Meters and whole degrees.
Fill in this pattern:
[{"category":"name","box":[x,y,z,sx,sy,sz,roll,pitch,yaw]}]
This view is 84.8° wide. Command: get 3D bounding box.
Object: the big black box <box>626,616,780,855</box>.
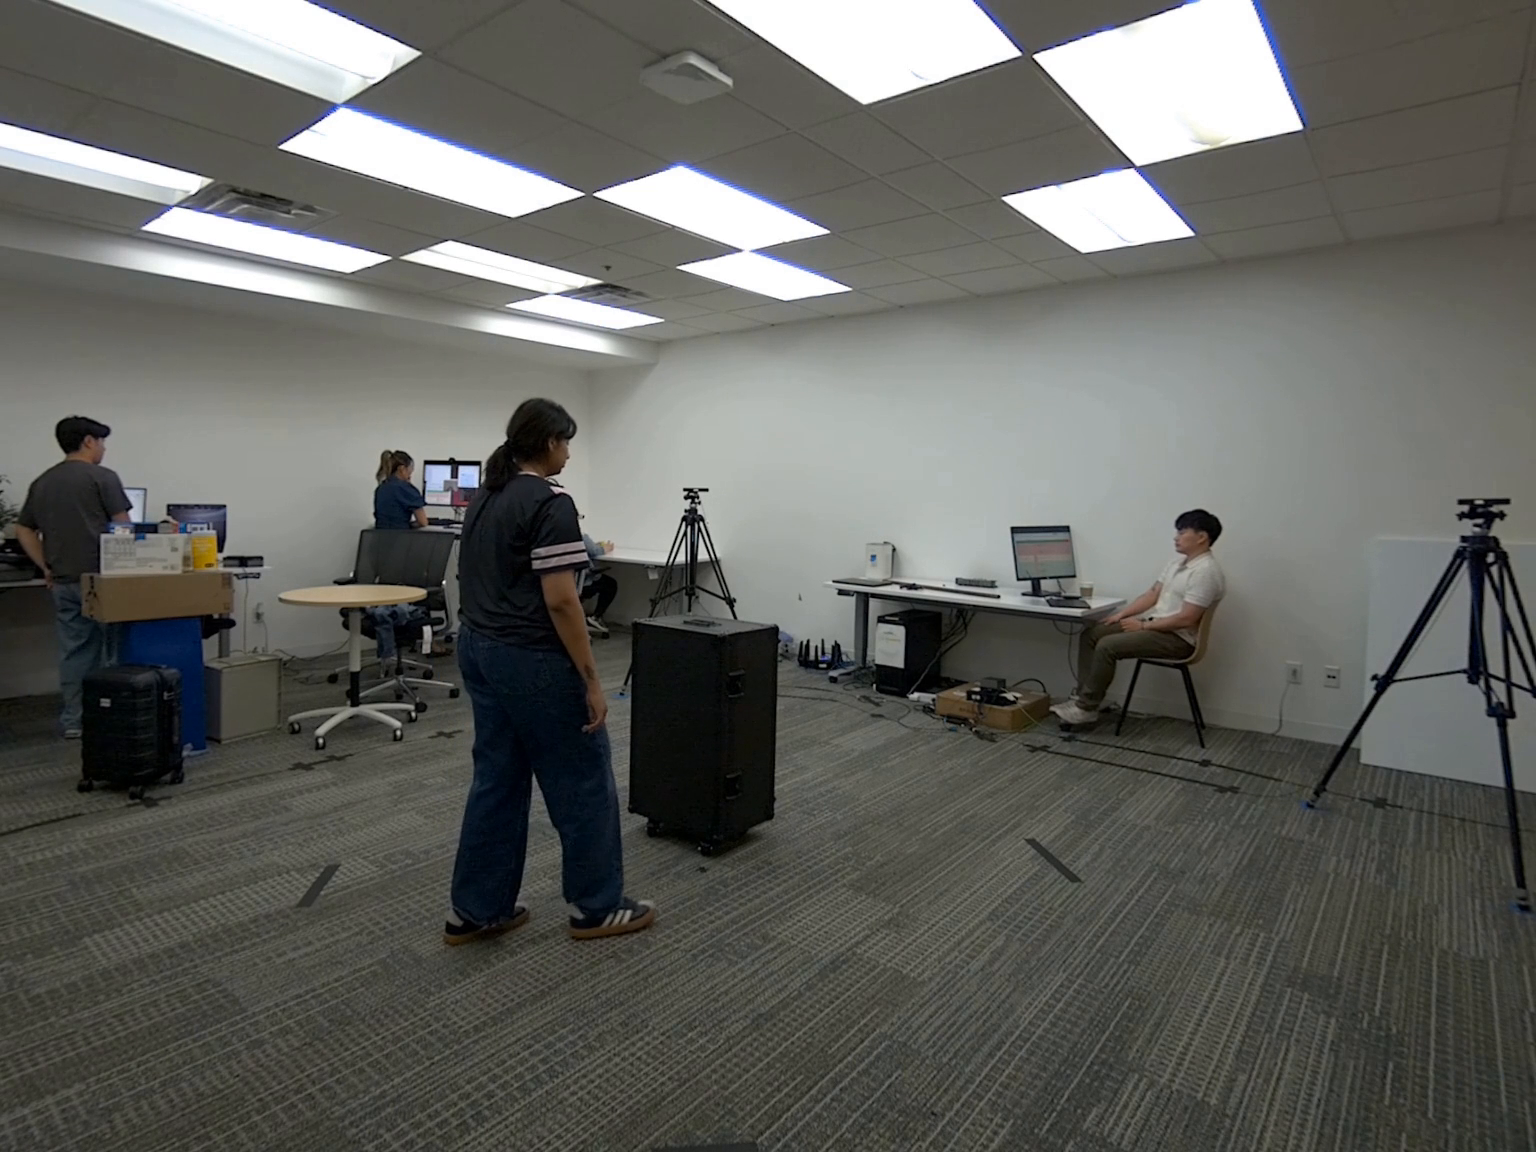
[{"category":"big black box","box":[-0.278,0.614,3.443,0.541,0.867,0.373,4,3,38]}]
